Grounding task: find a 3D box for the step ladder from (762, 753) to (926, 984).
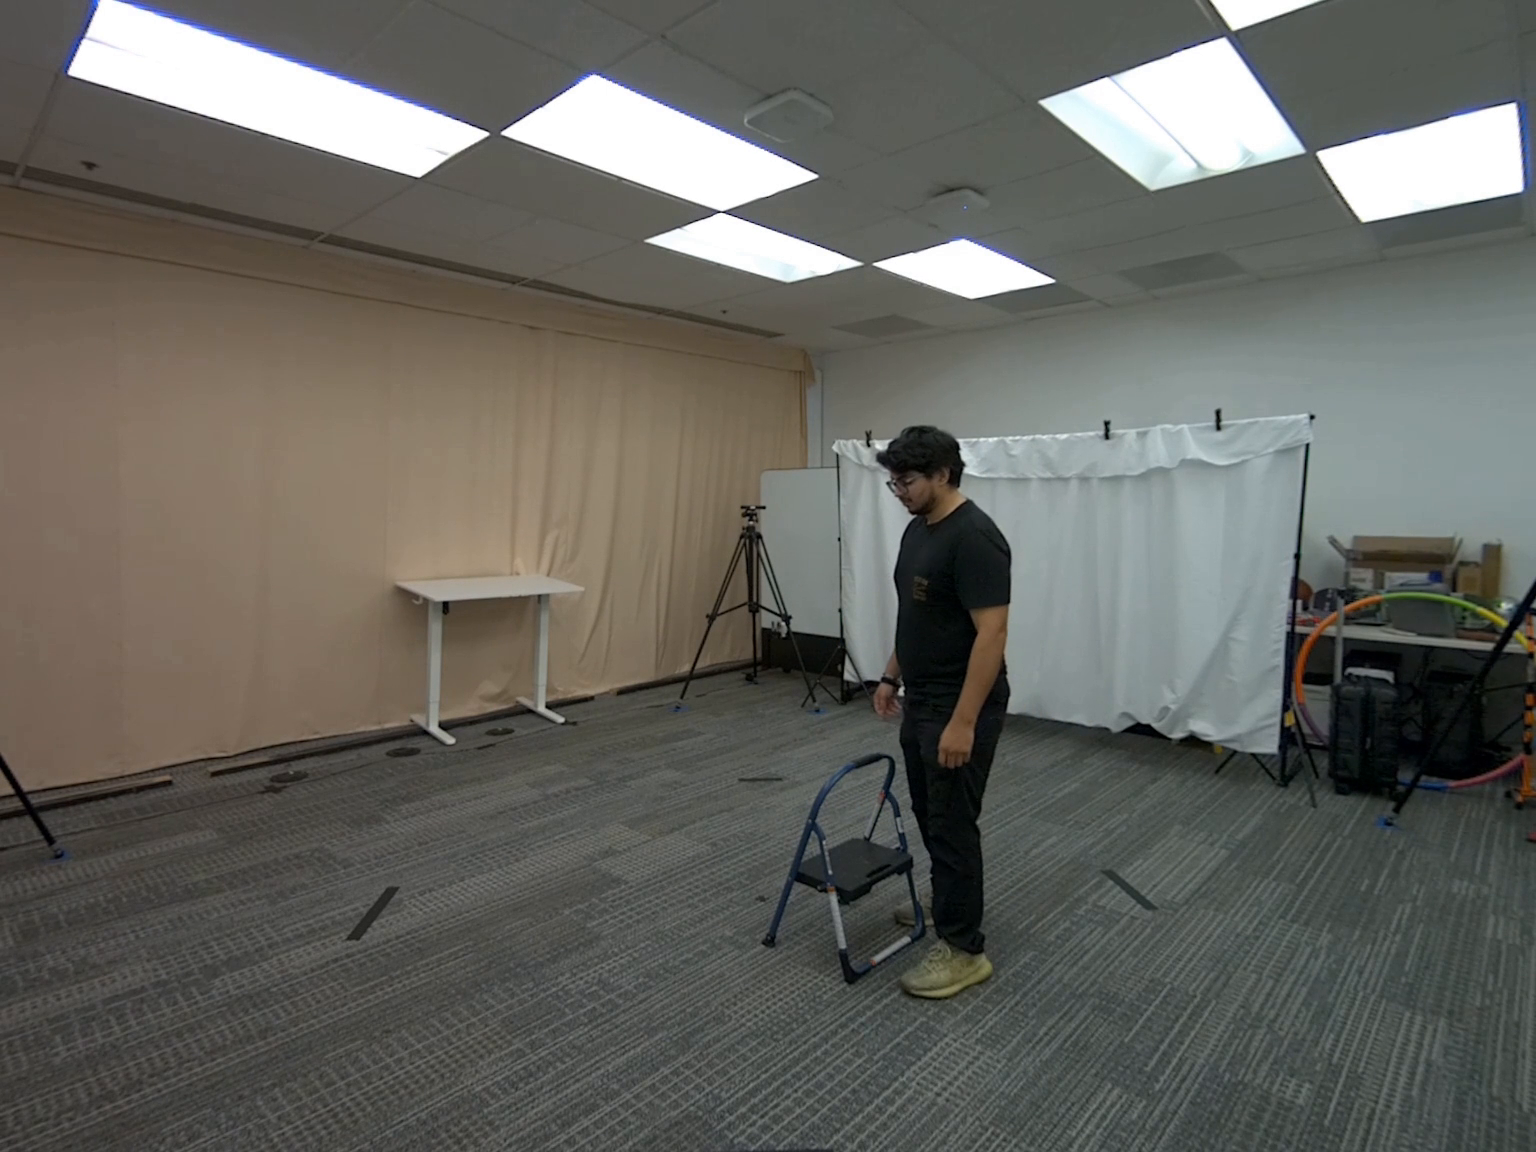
[{"bbox_3d":[0.252,0.864,2.689,0.361,0.605,0.417,3,5,43],"label":"step ladder"}]
